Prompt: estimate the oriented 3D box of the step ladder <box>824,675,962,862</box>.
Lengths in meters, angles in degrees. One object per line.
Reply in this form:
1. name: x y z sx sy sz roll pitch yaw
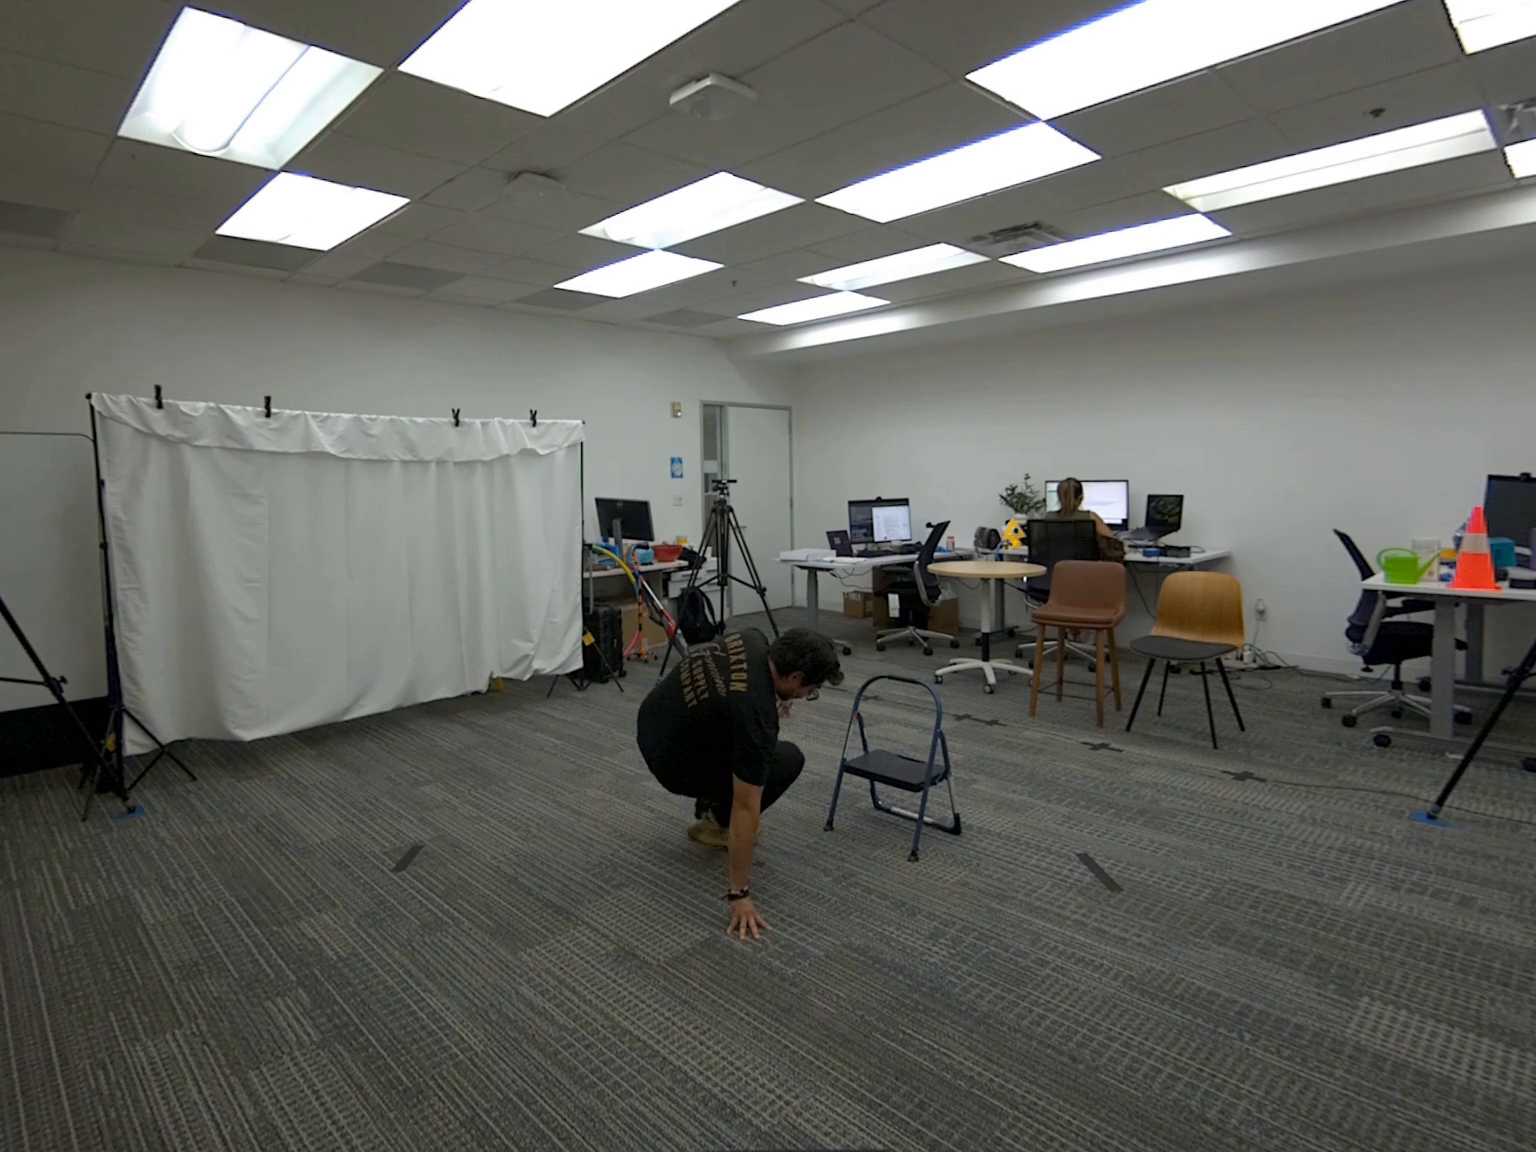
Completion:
1. step ladder: 0.488 0.707 3.351 0.444 0.604 0.340 4 6 44
